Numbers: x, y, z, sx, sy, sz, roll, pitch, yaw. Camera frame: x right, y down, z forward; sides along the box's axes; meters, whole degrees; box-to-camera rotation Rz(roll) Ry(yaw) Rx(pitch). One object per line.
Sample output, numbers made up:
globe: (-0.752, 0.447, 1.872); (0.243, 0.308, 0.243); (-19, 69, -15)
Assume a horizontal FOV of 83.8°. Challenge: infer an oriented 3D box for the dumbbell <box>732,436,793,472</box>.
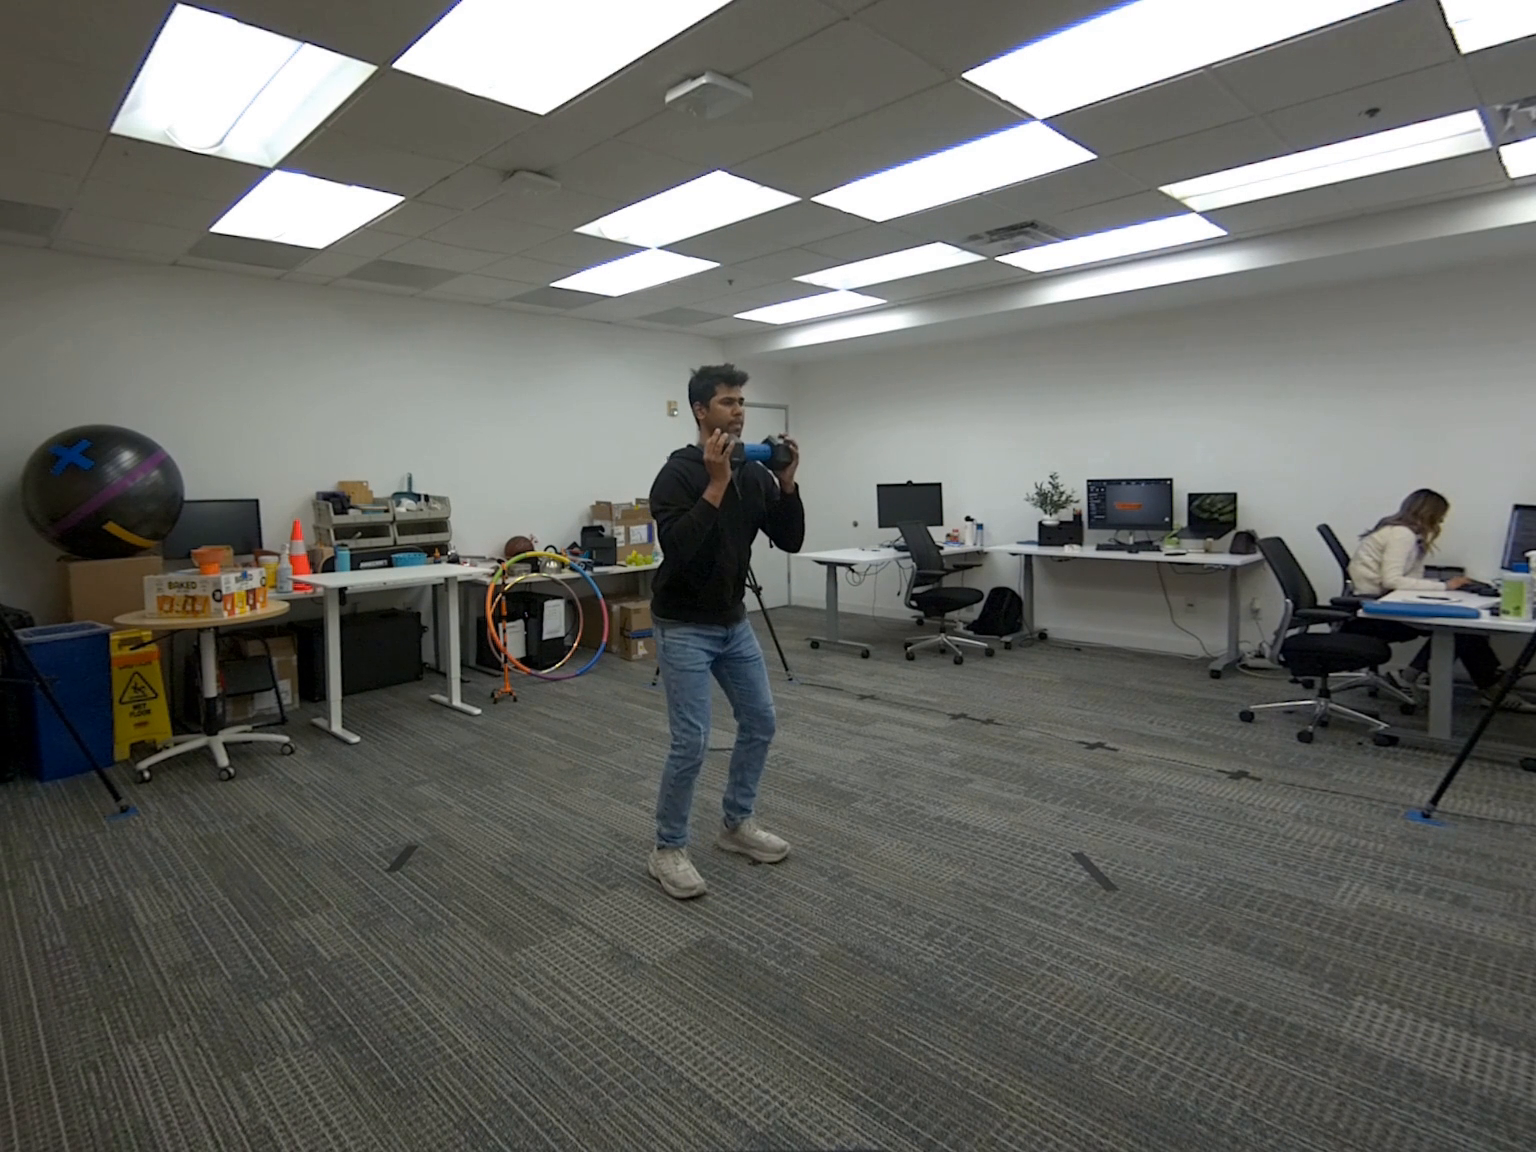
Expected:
dumbbell: (-0.065, -0.391, 2.879); (0.286, 0.122, 0.112); (-4, 5, -39)
